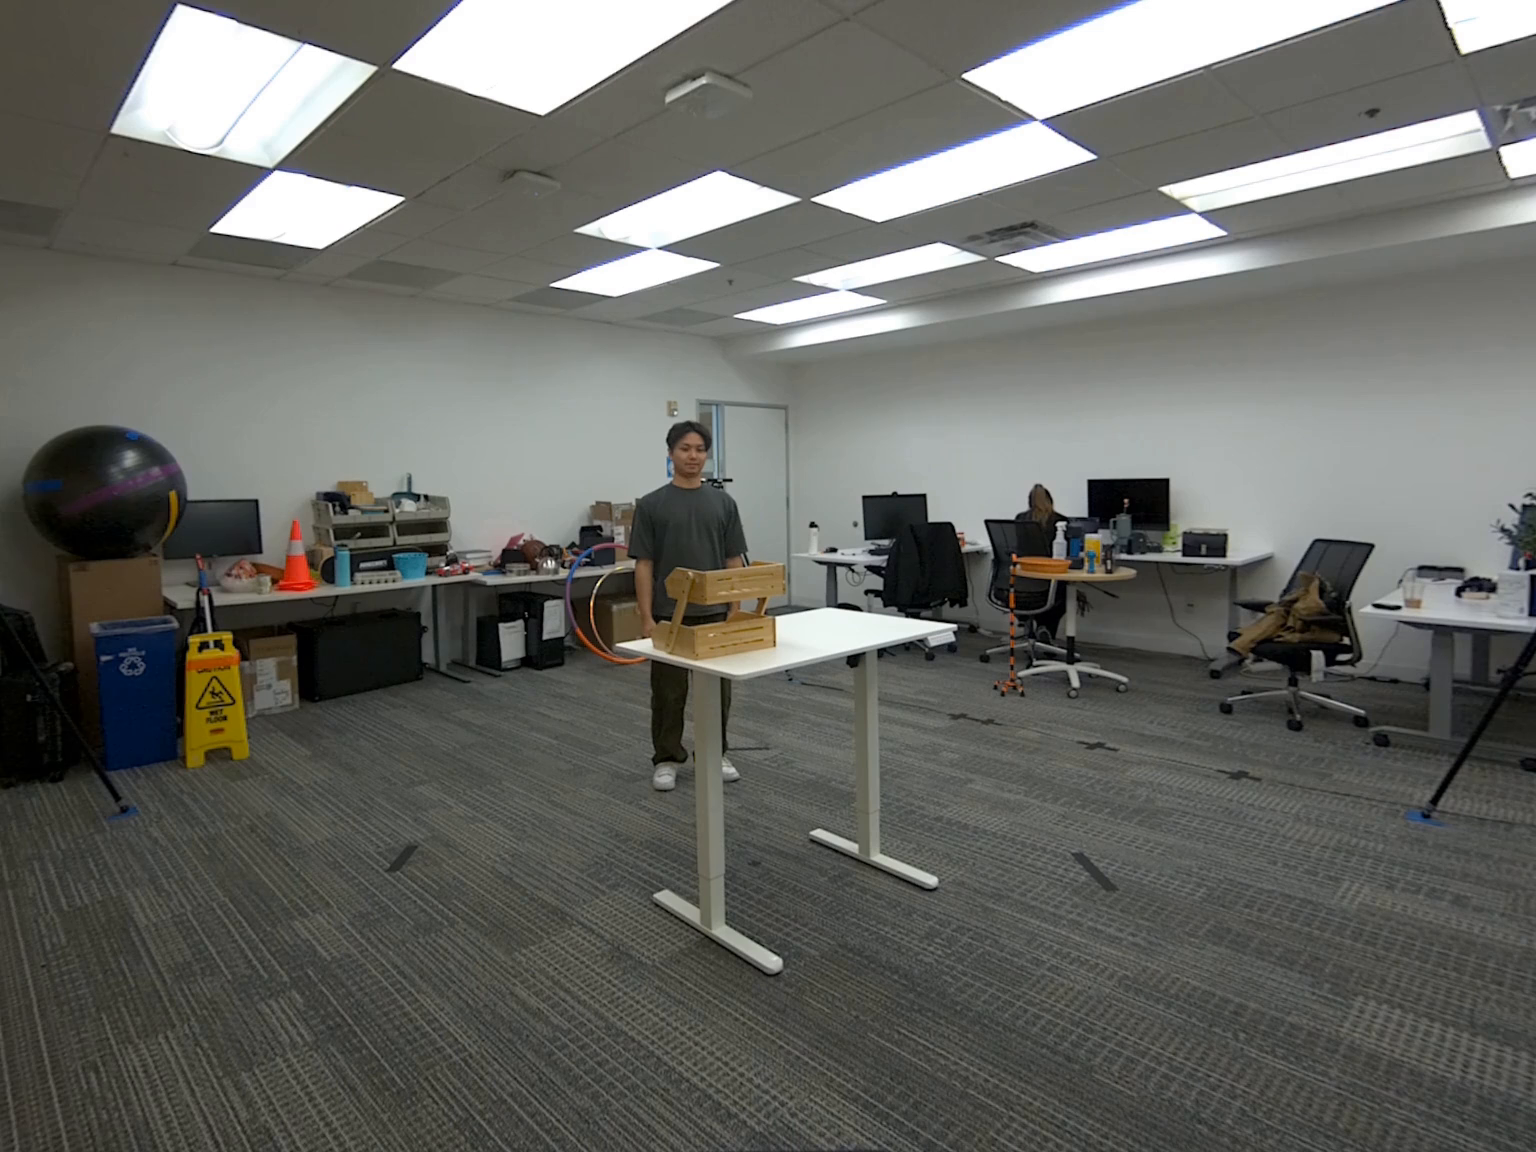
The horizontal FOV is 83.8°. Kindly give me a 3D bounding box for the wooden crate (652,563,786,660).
[{"bbox_3d":[-0.155,0.094,2.609,0.316,0.272,0.311,-6,7,-38],"label":"wooden crate"}]
